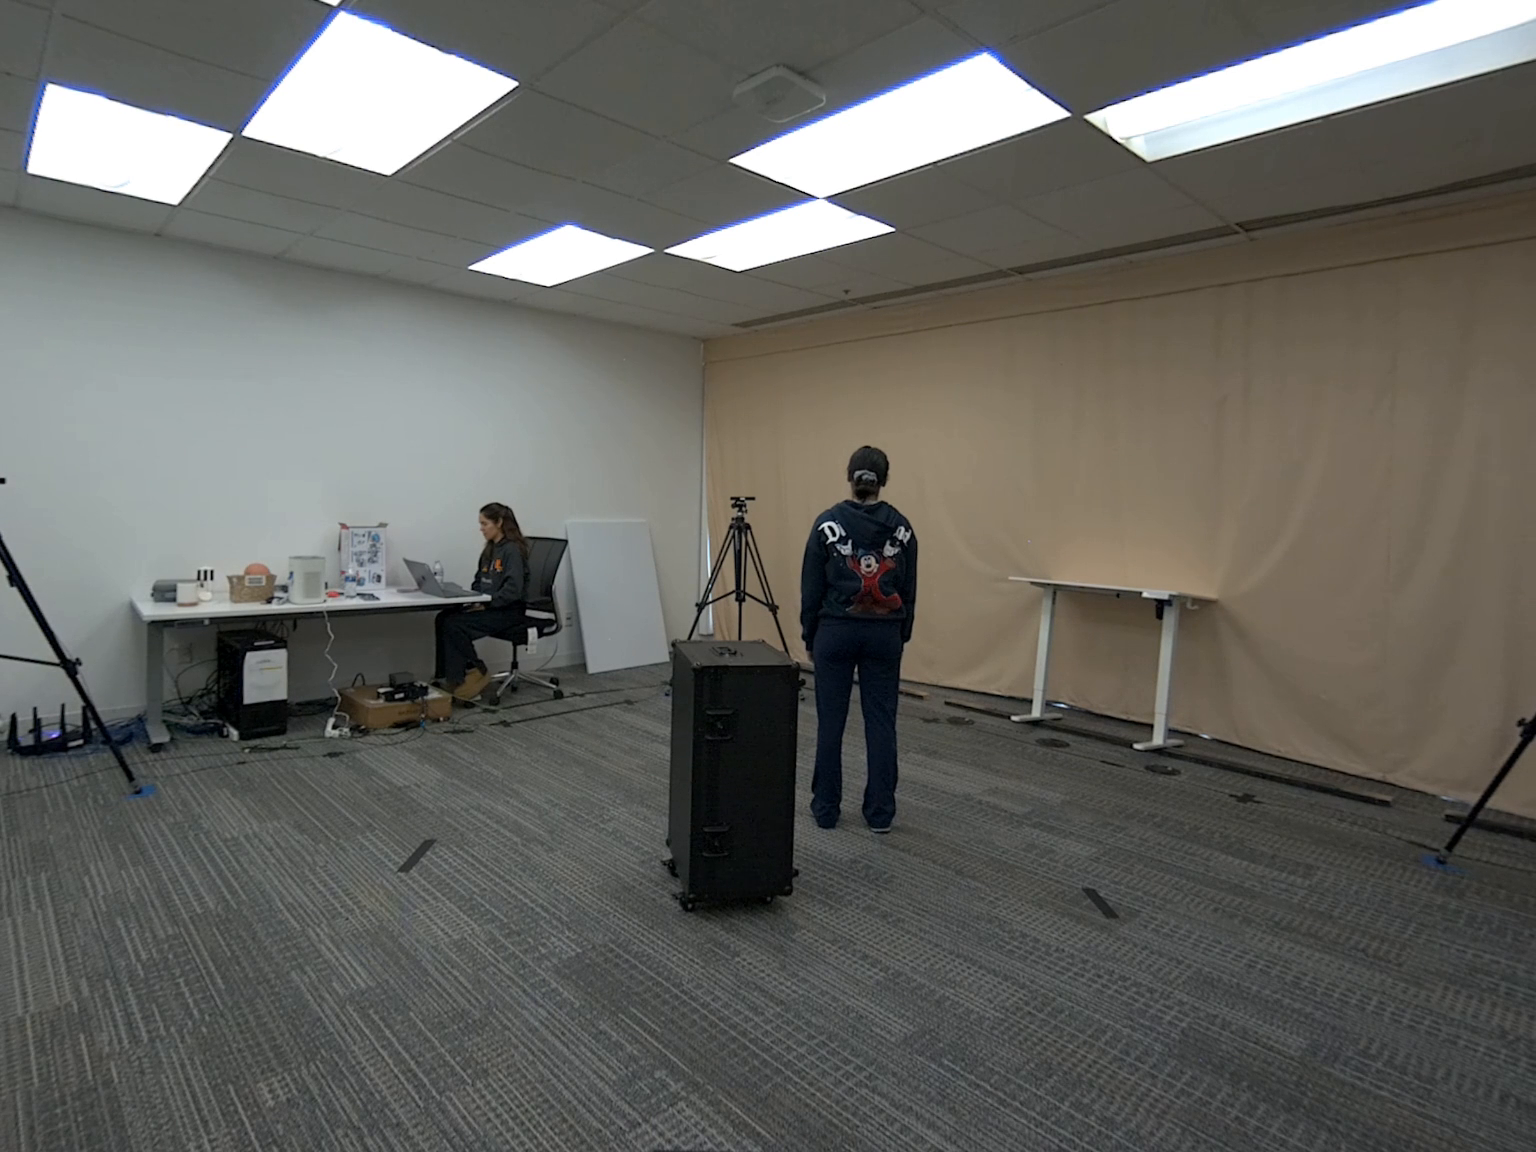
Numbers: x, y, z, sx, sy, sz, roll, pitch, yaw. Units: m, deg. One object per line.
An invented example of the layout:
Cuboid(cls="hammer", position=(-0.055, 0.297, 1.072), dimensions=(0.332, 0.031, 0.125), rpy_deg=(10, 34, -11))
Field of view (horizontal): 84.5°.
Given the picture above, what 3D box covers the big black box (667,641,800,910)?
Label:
Cuboid(cls="big black box", position=(-0.136, 0.692, 2.996), dimensions=(0.392, 0.860, 0.528), rpy_deg=(2, 3, -14))
